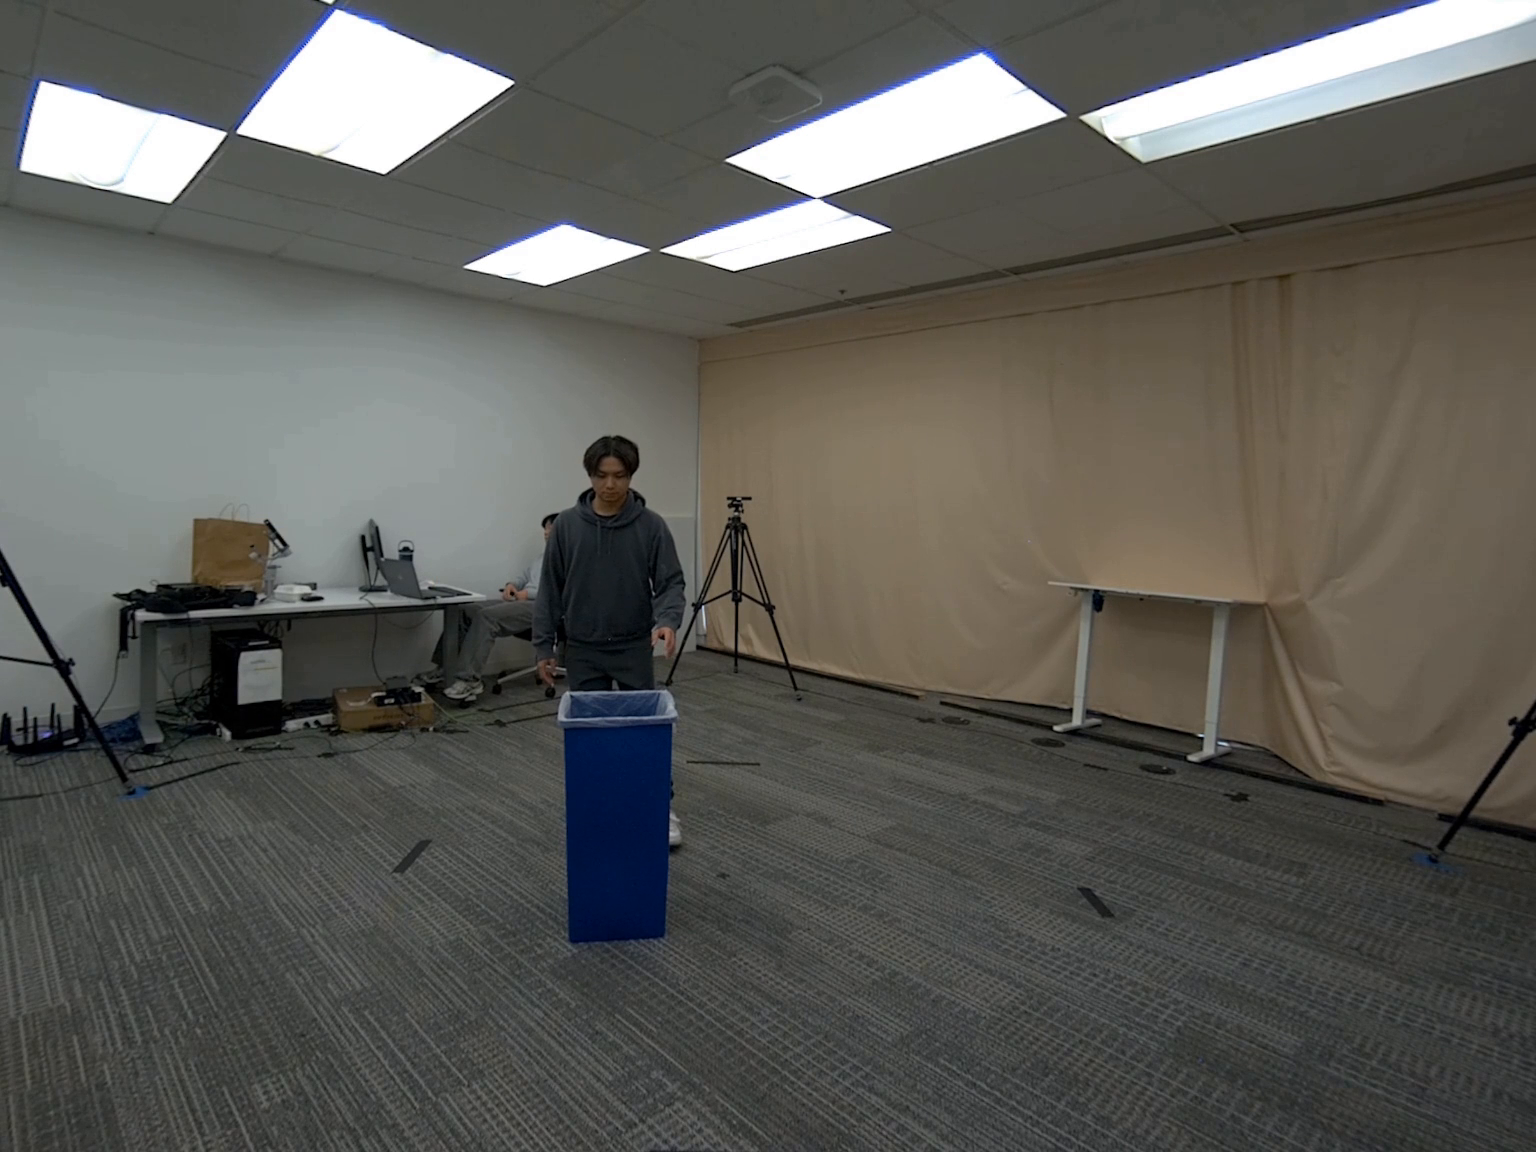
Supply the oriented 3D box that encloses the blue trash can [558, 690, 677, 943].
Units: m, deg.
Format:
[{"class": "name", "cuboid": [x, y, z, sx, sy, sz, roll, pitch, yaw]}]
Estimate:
[{"class": "blue trash can", "cuboid": [-0.504, 0.771, 2.754, 0.371, 0.712, 0.382, 1, 3, -10]}]
